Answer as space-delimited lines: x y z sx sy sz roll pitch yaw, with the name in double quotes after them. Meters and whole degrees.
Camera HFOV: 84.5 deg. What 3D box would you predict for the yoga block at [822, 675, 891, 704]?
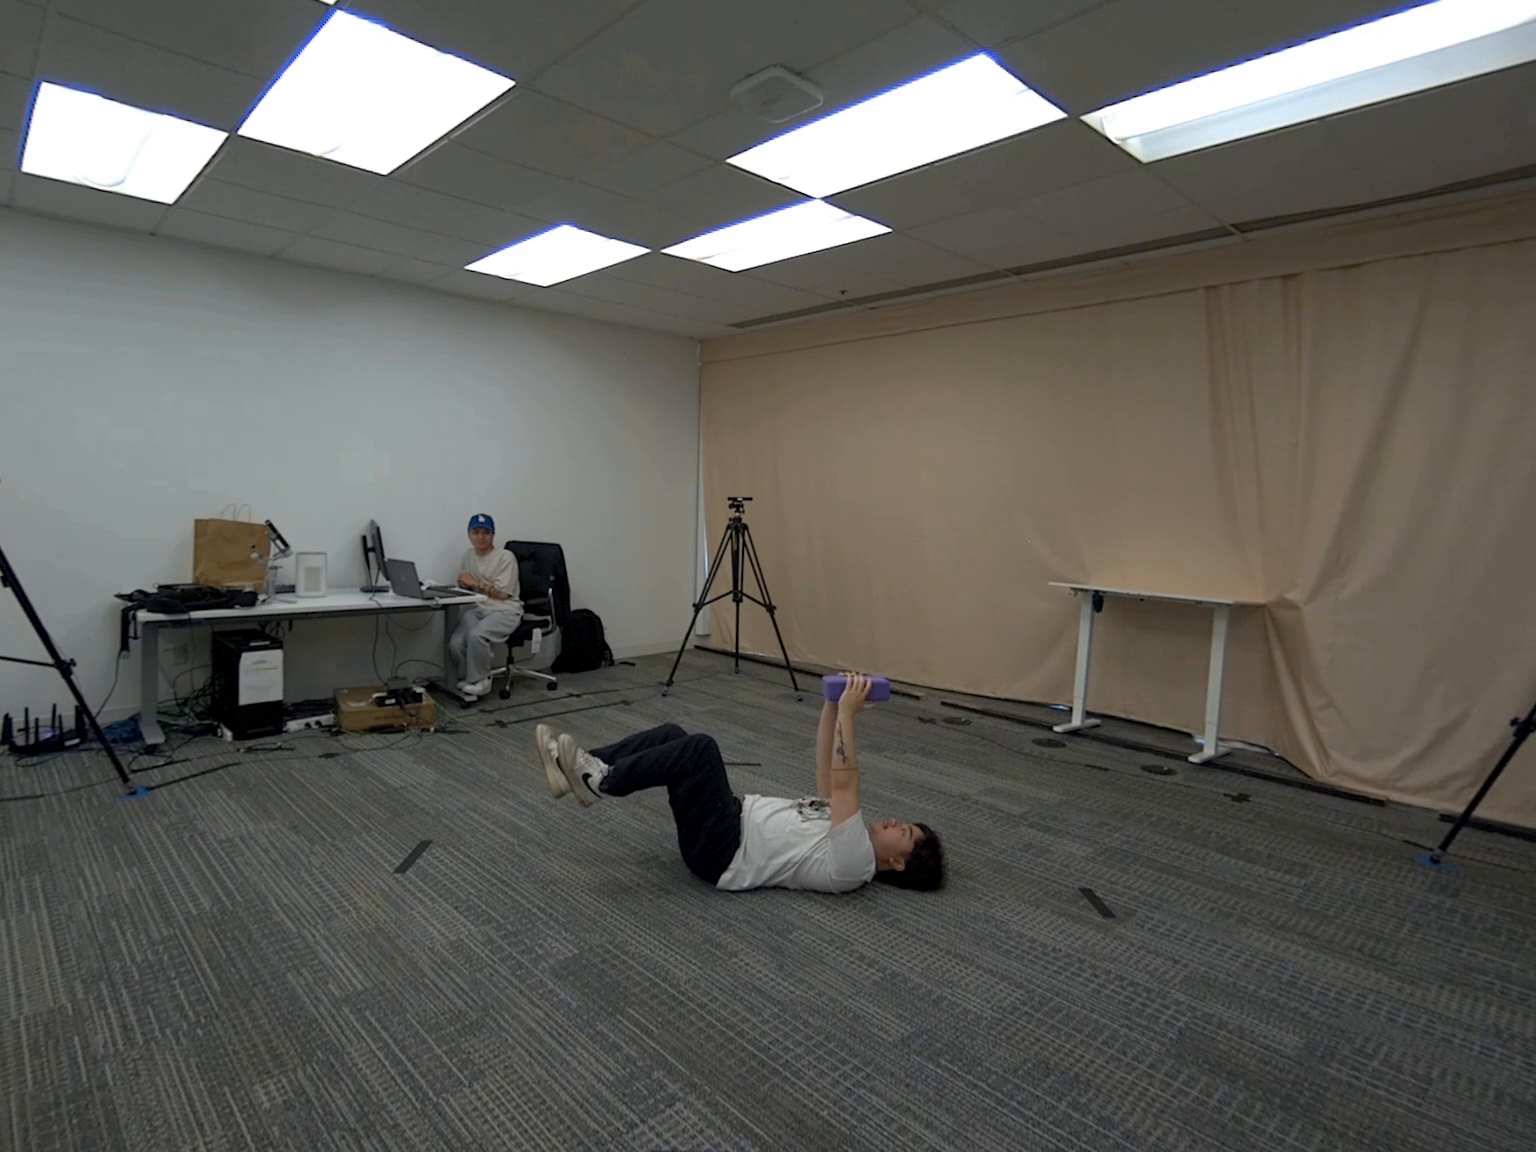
0.320 0.421 3.136 0.229 0.076 0.149 -1 0 -3 "yoga block"
